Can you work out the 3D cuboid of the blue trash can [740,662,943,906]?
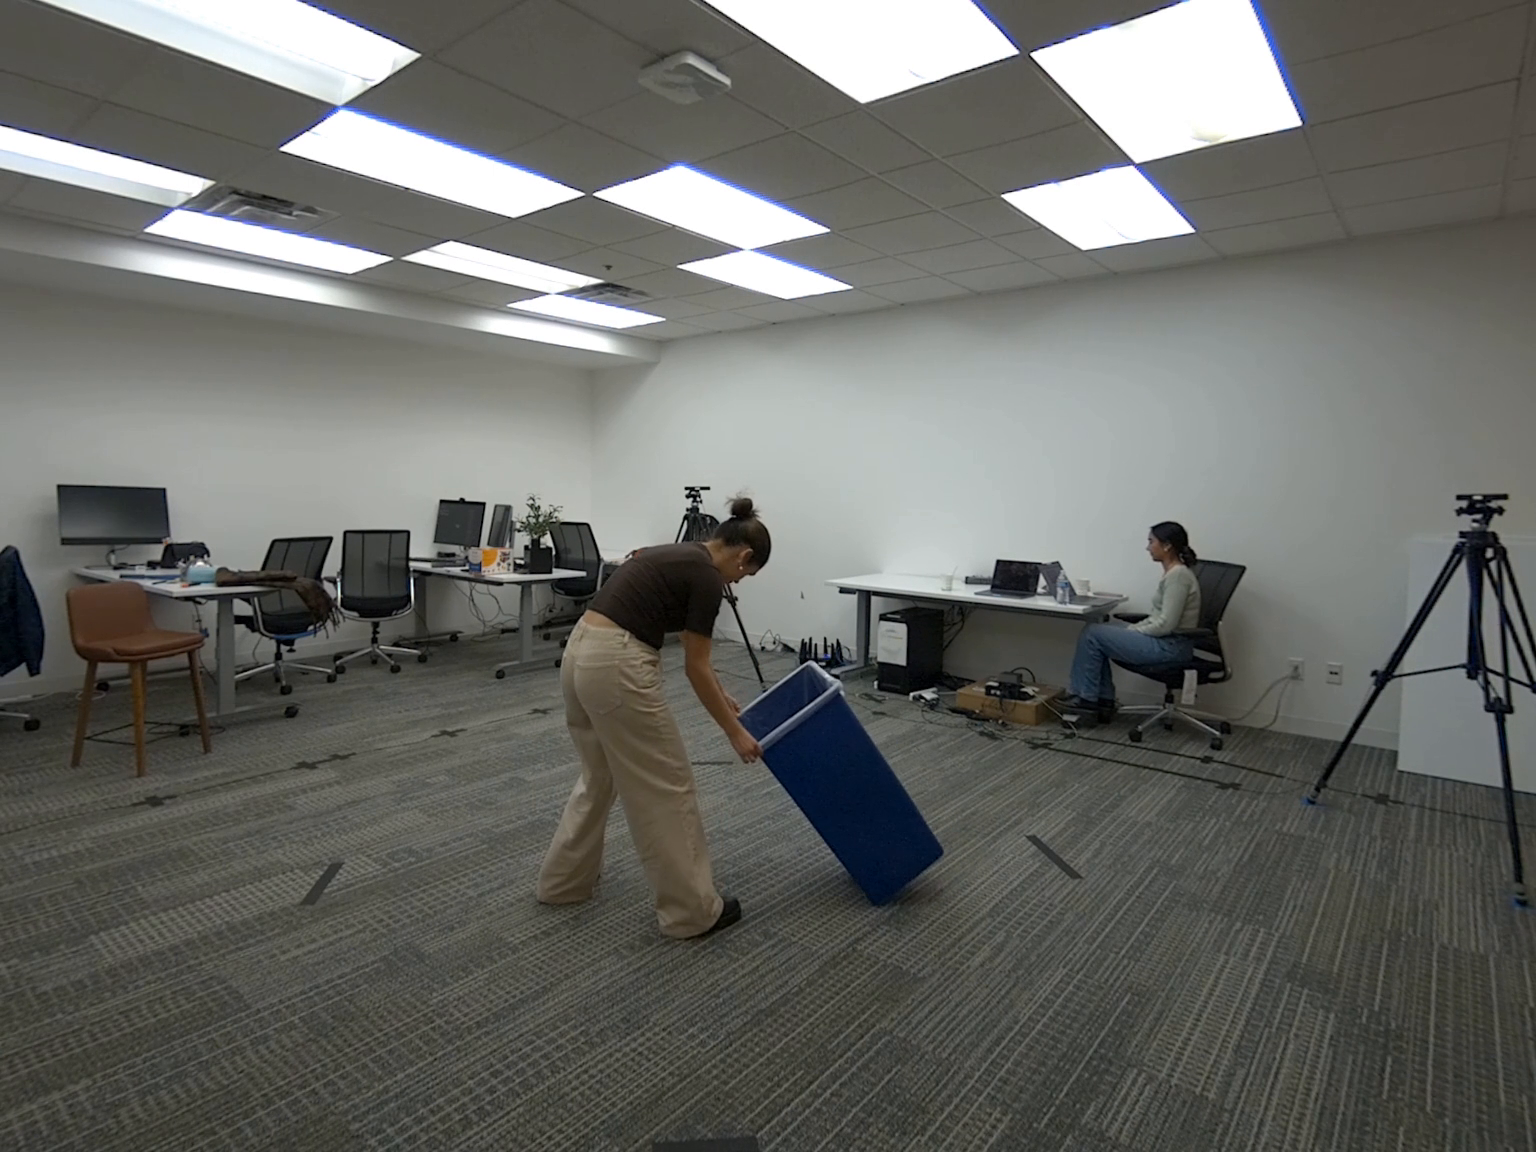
[{"bbox_3d":[0.234,0.719,2.948,0.373,0.706,0.383,-35,8,-7],"label":"blue trash can"}]
